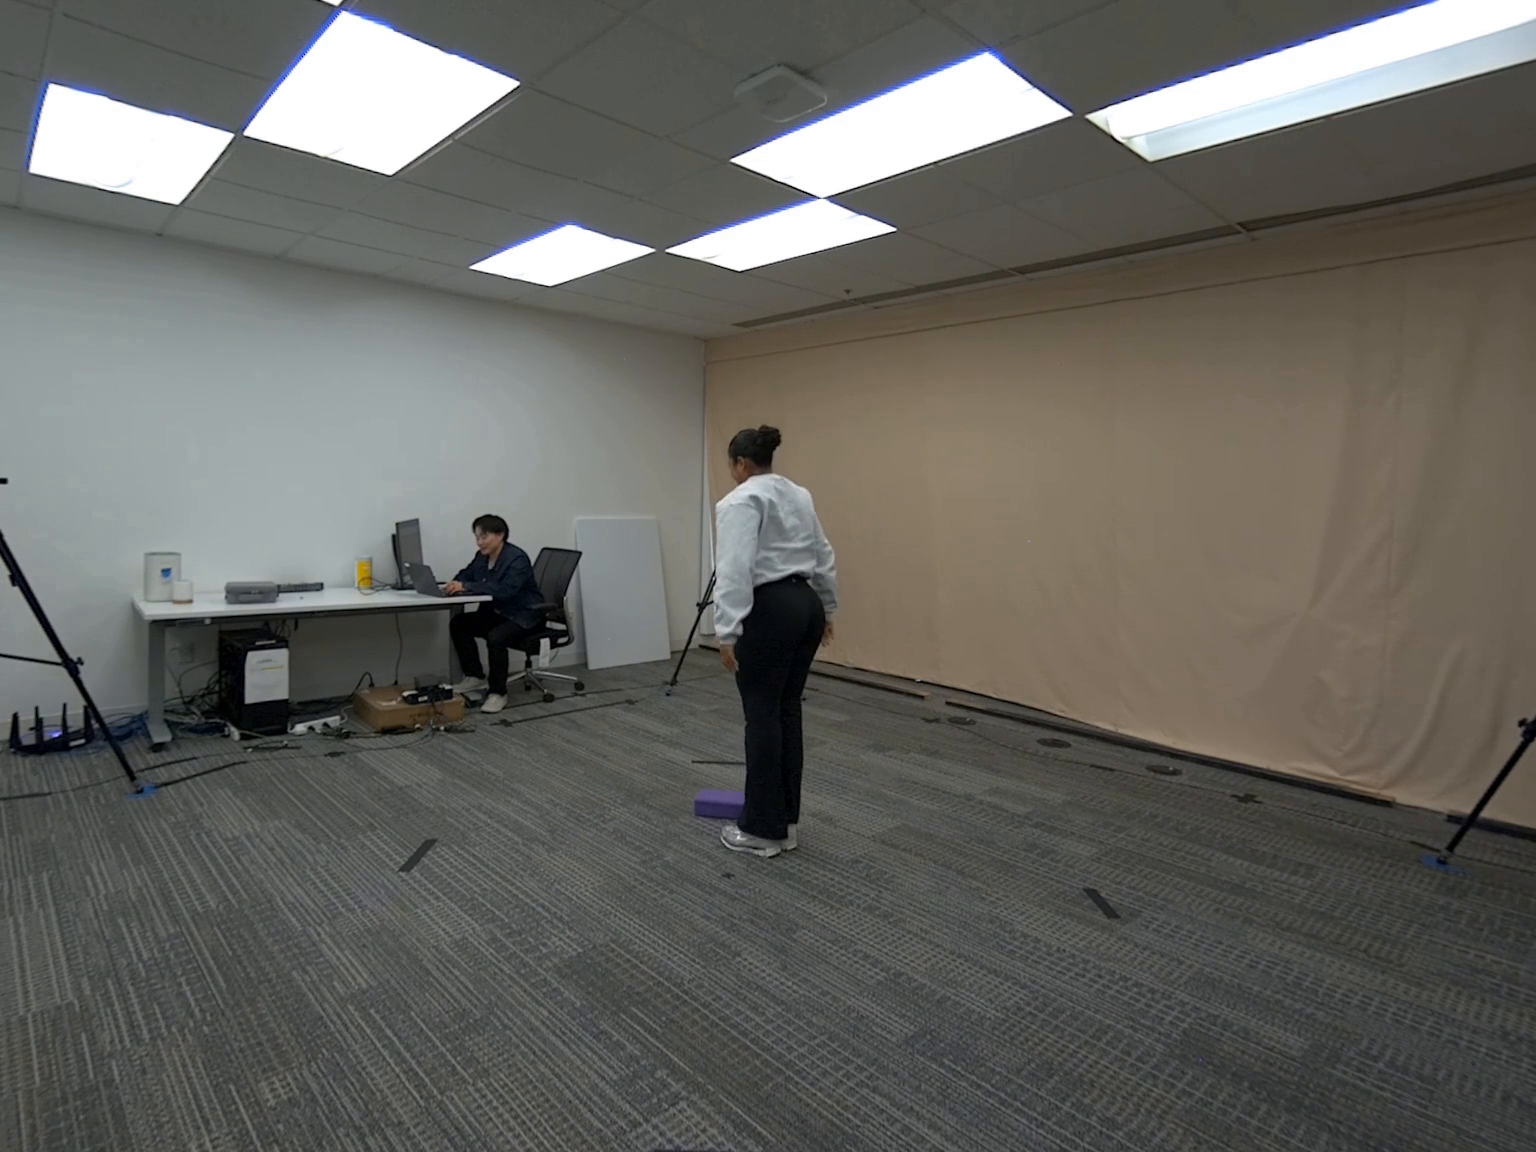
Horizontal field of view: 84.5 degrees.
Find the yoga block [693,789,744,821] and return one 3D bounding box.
[{"bbox_3d":[-0.212,1.007,3.728,0.231,0.076,0.148,1,5,11],"label":"yoga block"}]
